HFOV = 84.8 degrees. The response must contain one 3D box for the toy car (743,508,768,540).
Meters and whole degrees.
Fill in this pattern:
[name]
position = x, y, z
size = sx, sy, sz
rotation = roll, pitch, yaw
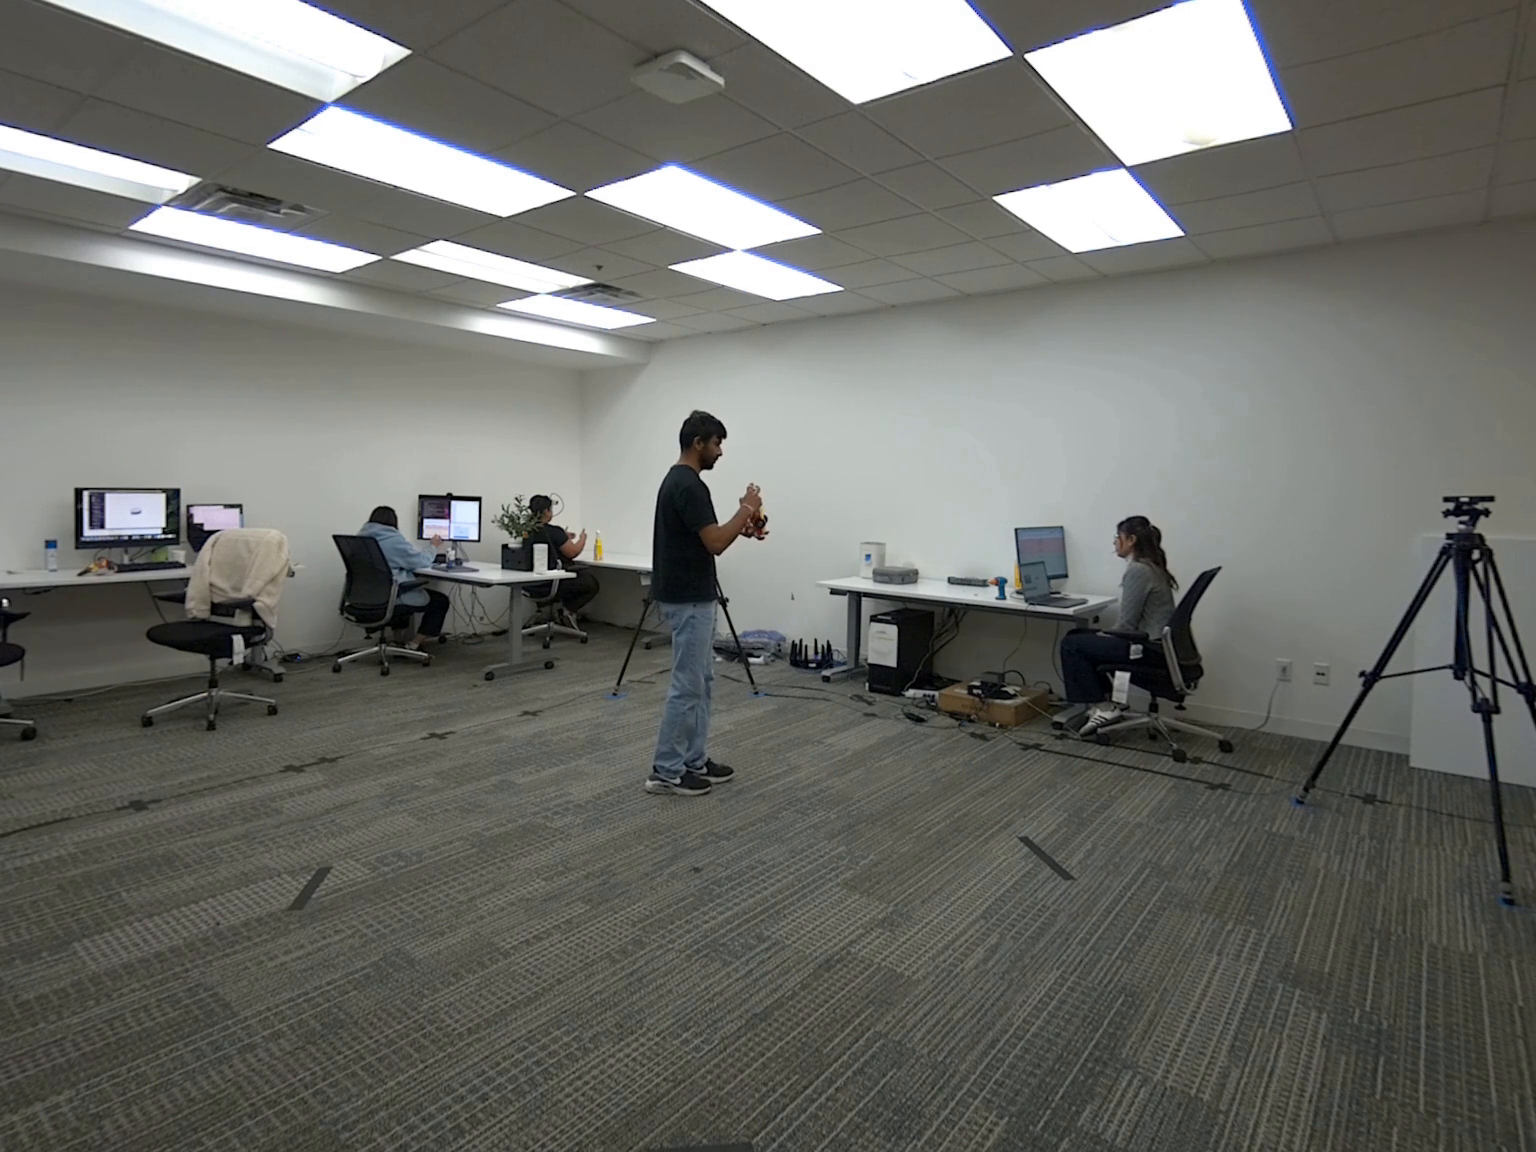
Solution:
[toy car]
position = -0.059, -0.304, 3.993
size = 0.084, 0.251, 0.130
rotation = -2, 13, 10
